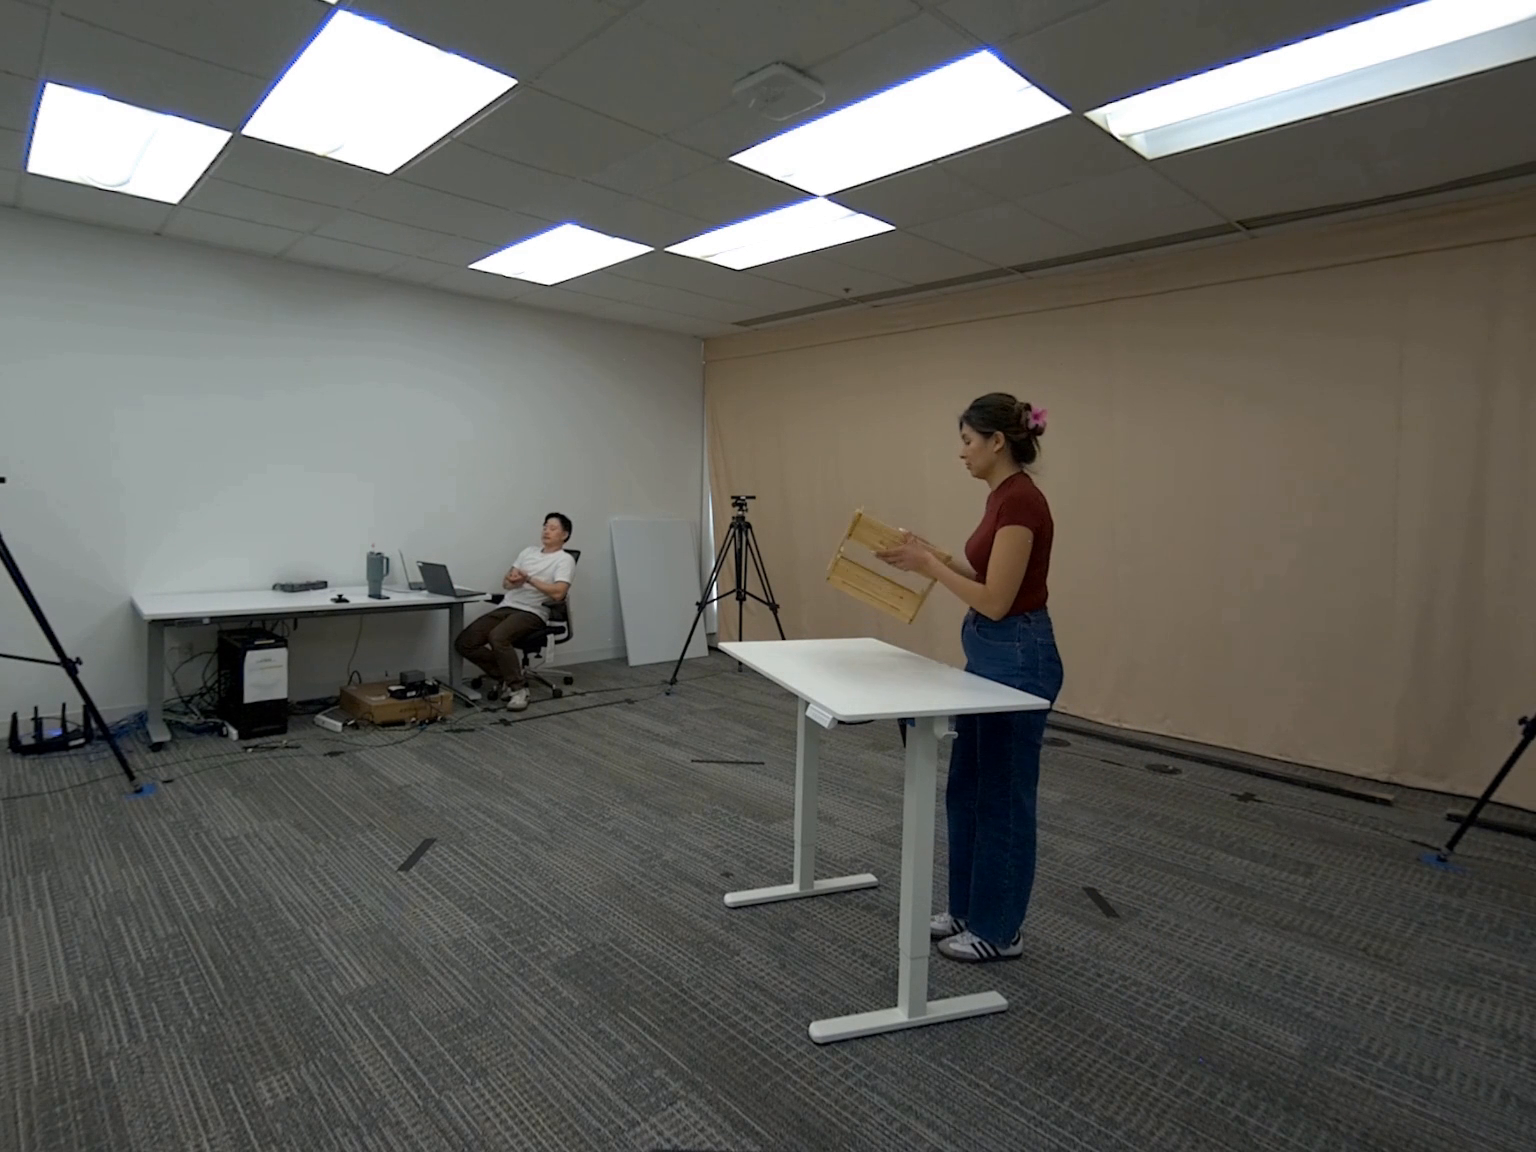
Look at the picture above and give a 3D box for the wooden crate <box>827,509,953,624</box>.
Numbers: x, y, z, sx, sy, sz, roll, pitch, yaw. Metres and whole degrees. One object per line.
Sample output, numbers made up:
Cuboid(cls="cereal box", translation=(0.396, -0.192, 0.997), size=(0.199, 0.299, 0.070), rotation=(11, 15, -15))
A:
Cuboid(cls="wooden crate", translation=(0.384, -0.046, 2.716), size=(0.327, 0.272, 0.301), rotation=(27, 17, 6))
